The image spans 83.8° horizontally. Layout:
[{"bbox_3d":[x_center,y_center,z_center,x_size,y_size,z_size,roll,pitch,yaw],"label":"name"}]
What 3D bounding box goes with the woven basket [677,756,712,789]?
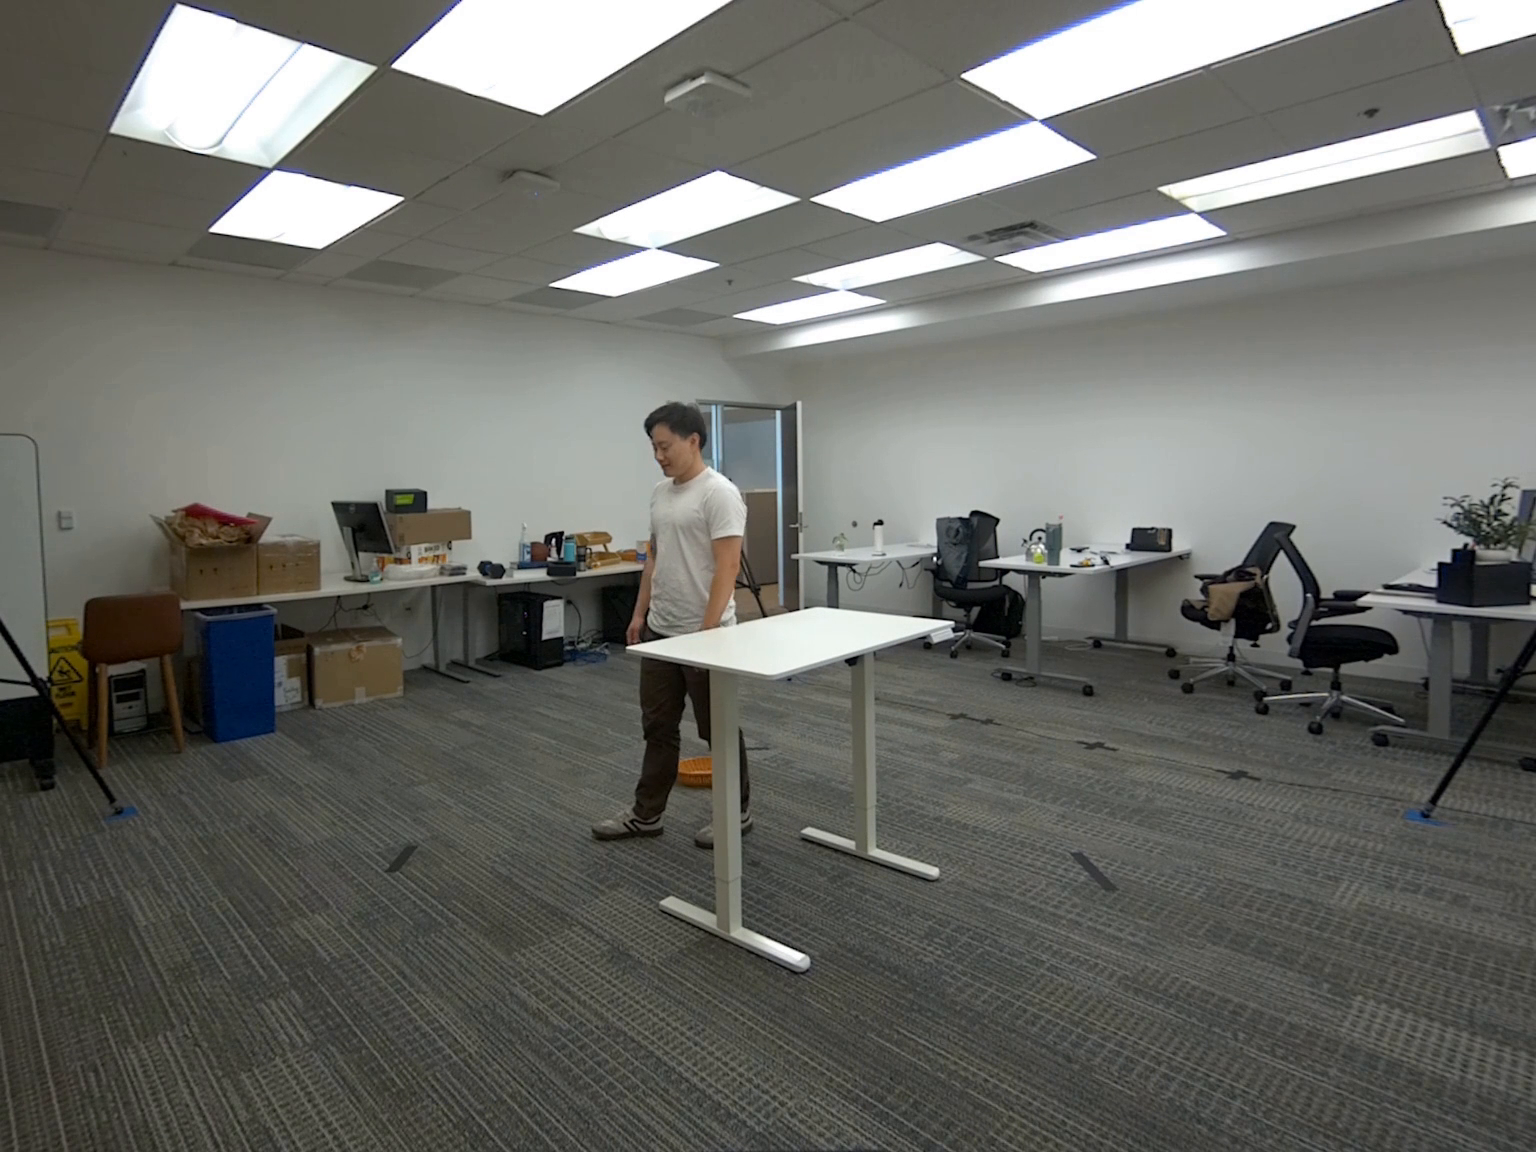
[{"bbox_3d":[-0.269,0.915,3.985,0.351,0.073,0.253,-1,5,1],"label":"woven basket"}]
